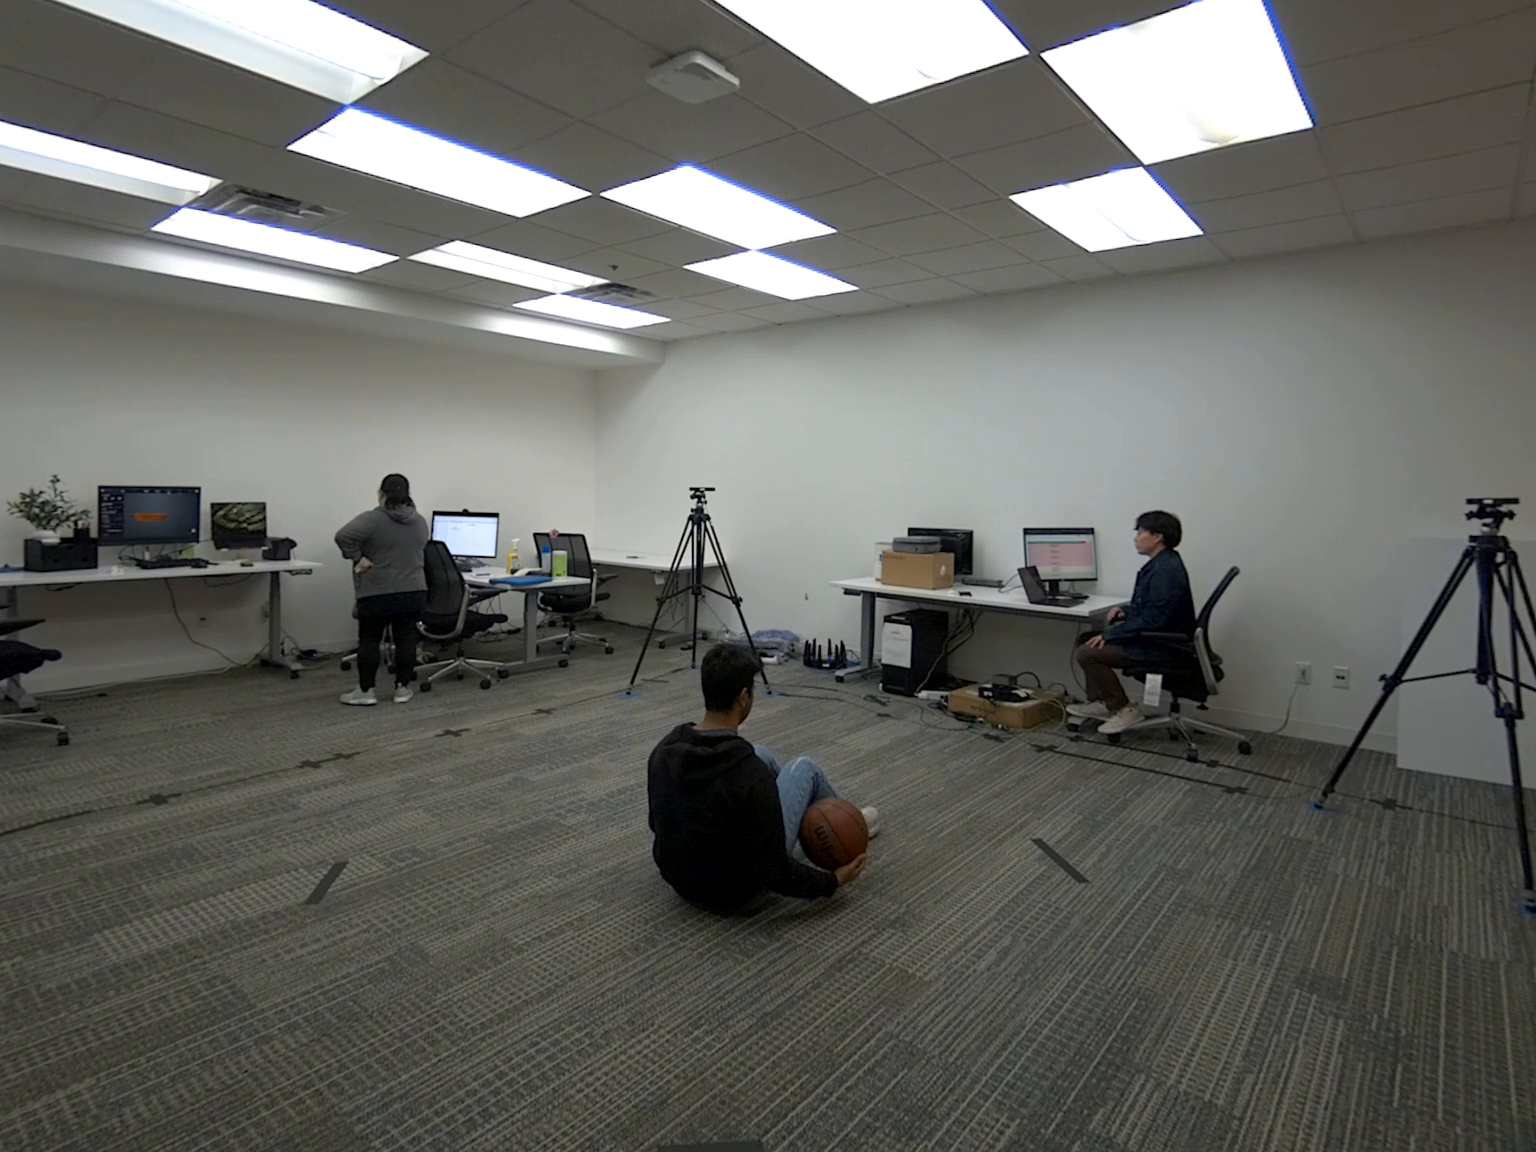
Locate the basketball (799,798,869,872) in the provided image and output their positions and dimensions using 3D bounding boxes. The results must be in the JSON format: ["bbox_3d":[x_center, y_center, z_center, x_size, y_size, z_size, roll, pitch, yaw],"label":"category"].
[{"bbox_3d":[0.229,0.873,2.920,0.235,0.235,0.237,1,4,-2],"label":"basketball"}]
